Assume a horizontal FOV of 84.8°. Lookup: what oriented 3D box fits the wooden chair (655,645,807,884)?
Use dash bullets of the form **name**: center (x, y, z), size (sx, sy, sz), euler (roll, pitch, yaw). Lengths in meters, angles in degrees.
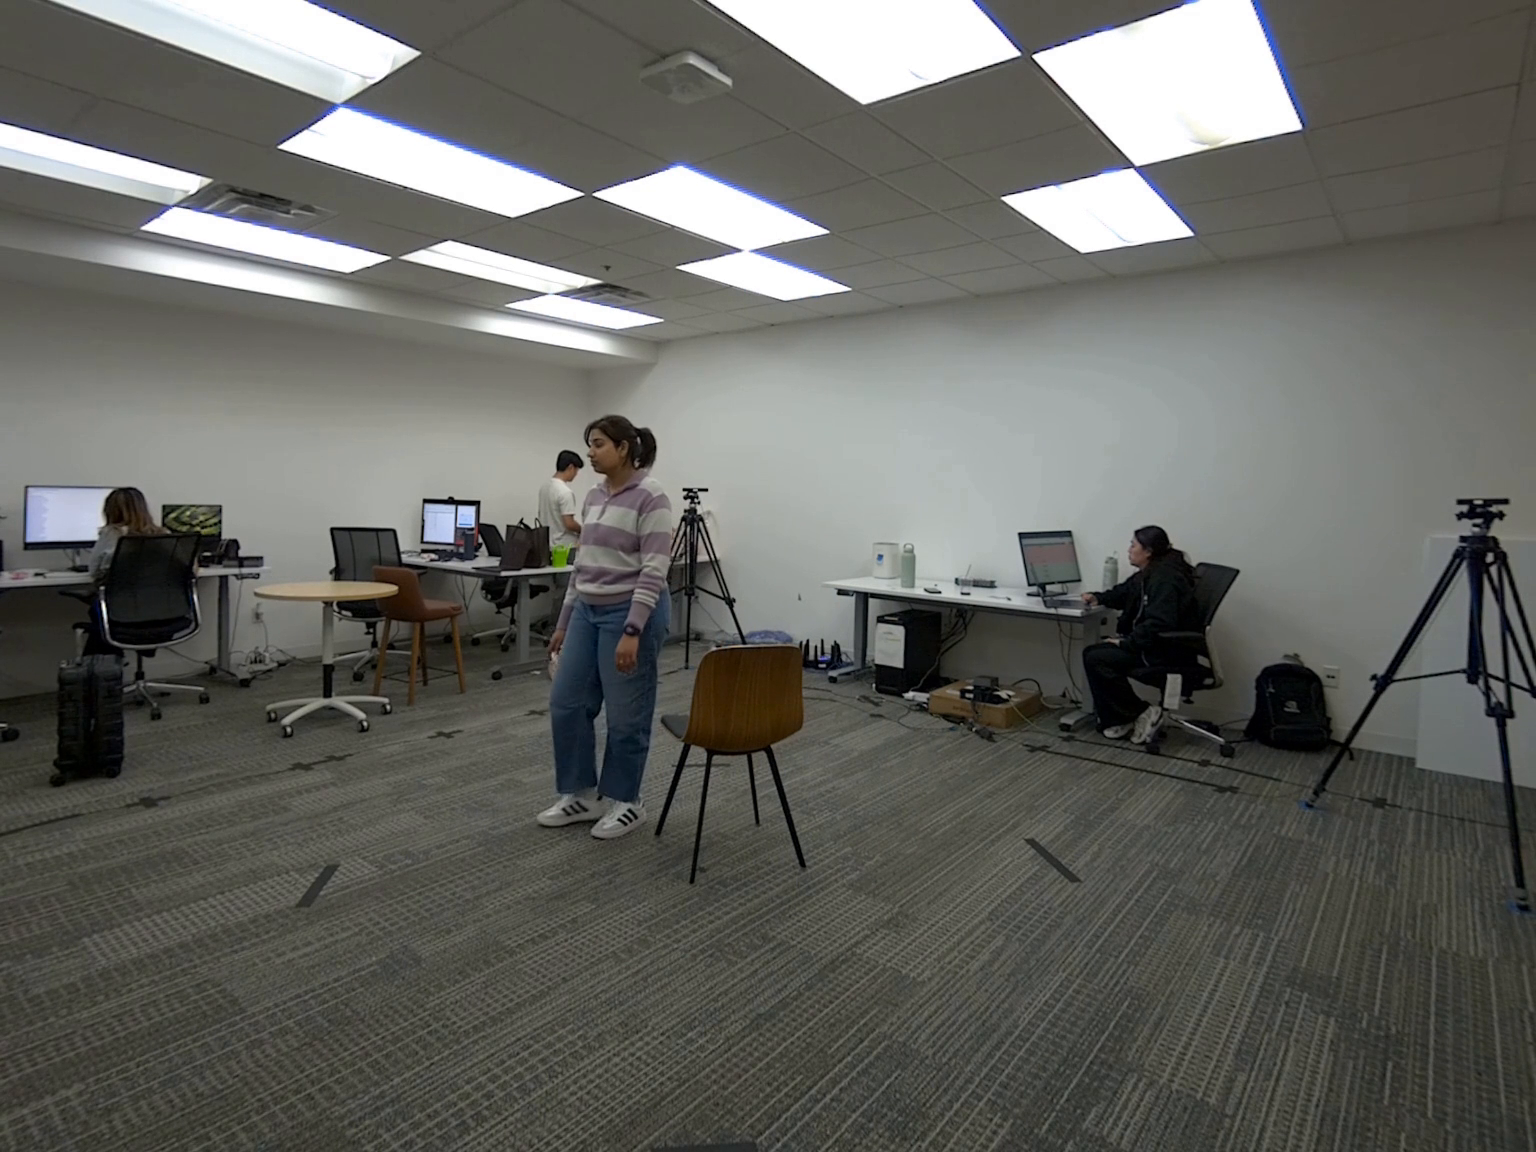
- **wooden chair**: center (-0.158, 0.630, 3.252), size (0.468, 0.872, 0.538), euler (0, 7, -22)
